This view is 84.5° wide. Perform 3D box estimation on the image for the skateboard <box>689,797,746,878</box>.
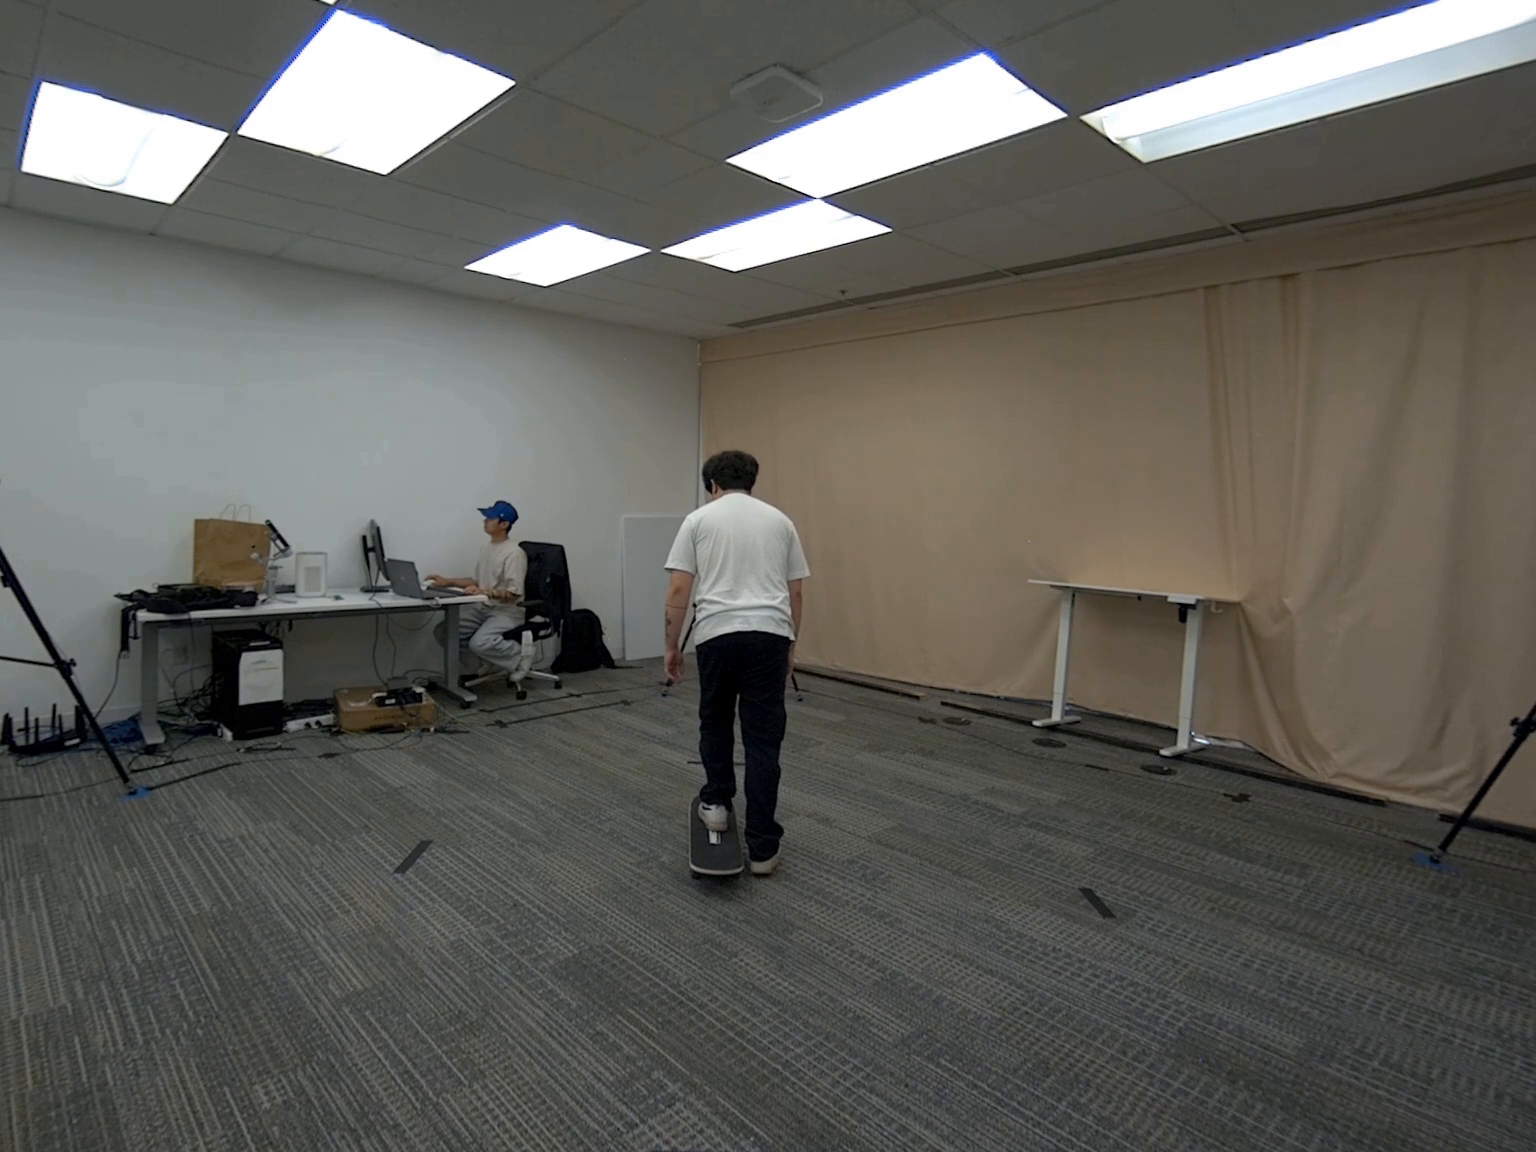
[{"bbox_3d":[-0.216,1.030,3.293,0.193,0.110,0.790,1,5,-5],"label":"skateboard"}]
